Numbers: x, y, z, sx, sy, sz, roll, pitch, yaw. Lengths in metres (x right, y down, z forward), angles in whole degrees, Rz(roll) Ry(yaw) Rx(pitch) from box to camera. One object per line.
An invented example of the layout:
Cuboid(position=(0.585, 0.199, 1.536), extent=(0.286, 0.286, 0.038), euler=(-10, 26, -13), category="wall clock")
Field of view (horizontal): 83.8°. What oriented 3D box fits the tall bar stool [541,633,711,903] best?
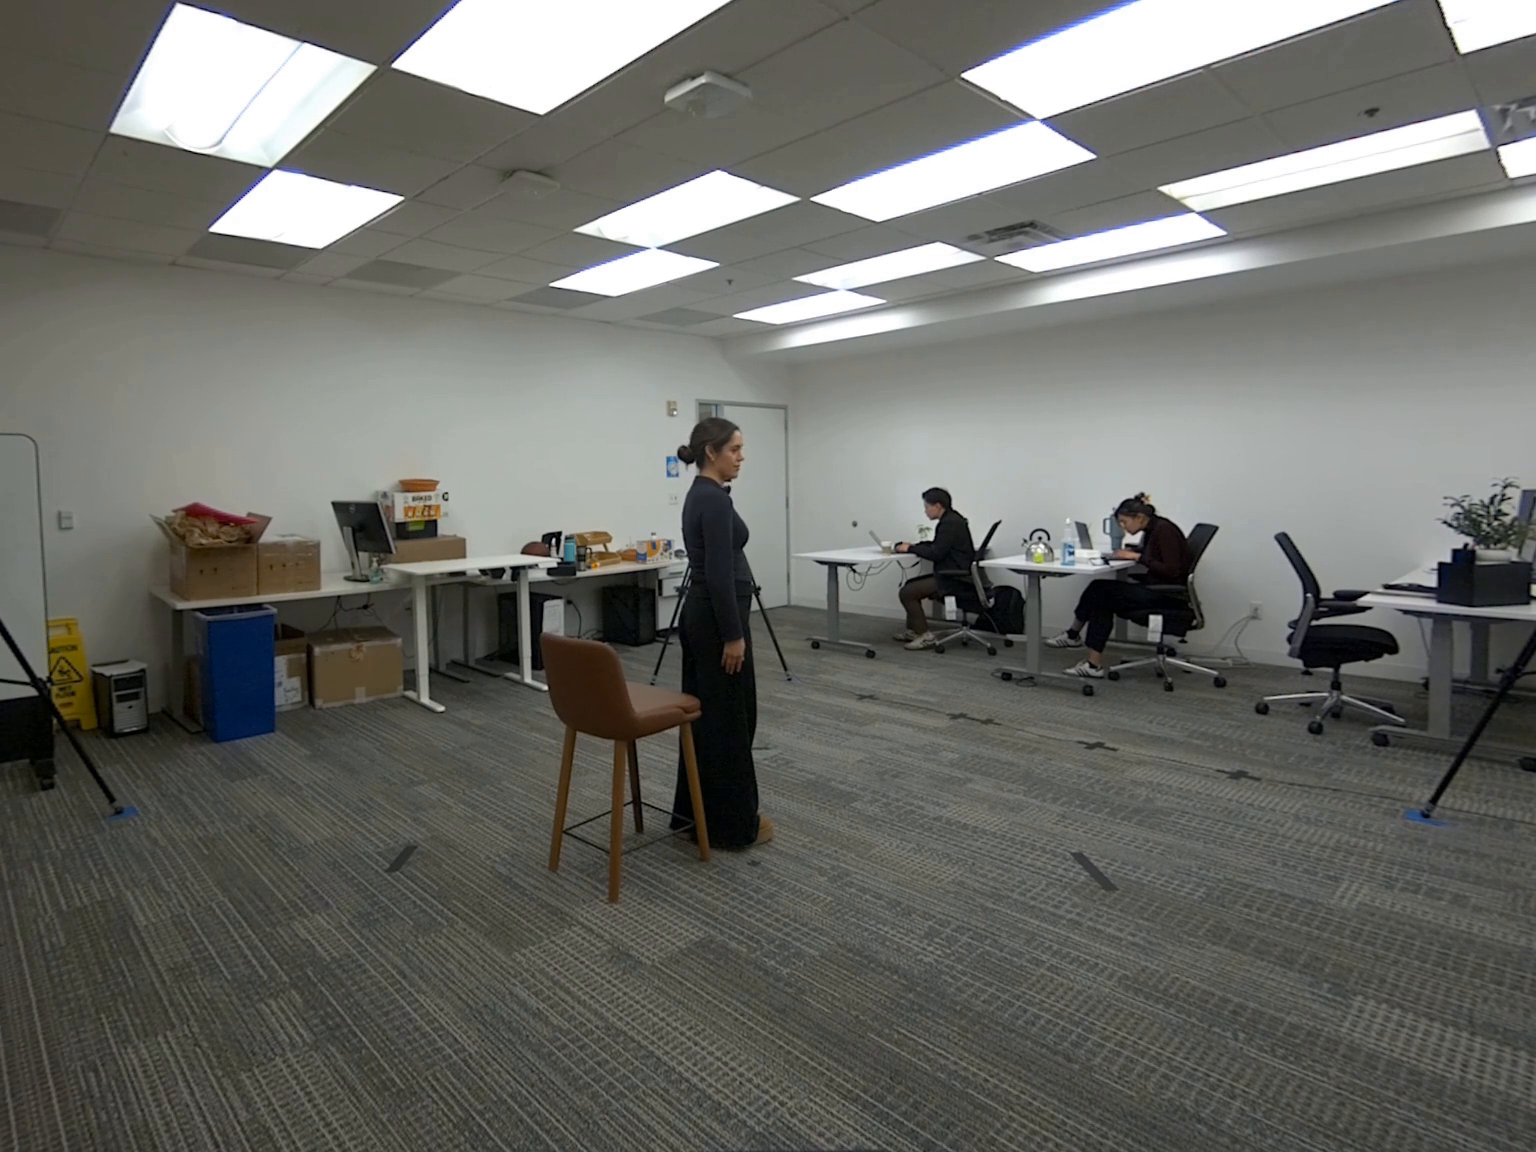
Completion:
Cuboid(position=(-0.523, 0.621, 3.082), extent=(0.470, 0.885, 0.456), euler=(3, 8, 43), category="tall bar stool")
